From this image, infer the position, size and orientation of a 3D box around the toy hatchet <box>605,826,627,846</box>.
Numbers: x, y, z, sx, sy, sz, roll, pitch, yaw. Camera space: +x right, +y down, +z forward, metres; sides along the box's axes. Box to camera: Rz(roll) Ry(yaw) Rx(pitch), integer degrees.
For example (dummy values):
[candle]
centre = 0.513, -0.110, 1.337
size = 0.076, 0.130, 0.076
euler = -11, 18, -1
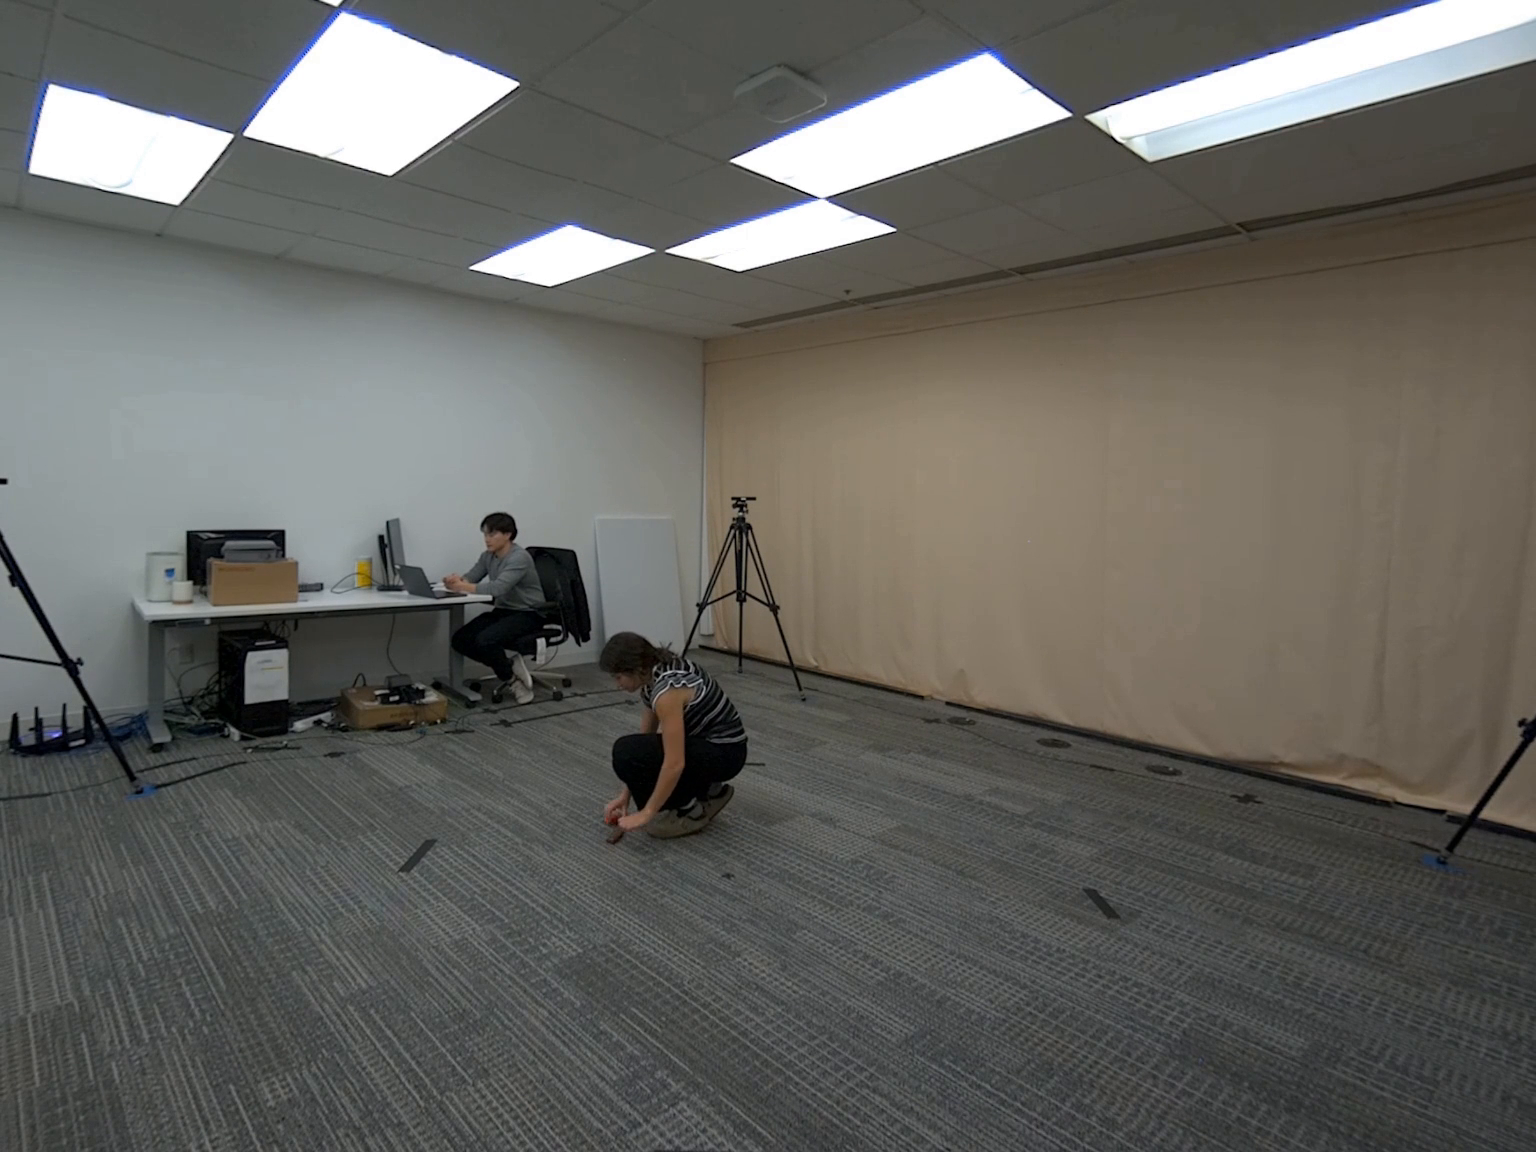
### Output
[toy hatchet]
centre = -0.657, 1.048, 3.497
size = 0.132, 0.029, 0.268
euler = 5, 6, 11
